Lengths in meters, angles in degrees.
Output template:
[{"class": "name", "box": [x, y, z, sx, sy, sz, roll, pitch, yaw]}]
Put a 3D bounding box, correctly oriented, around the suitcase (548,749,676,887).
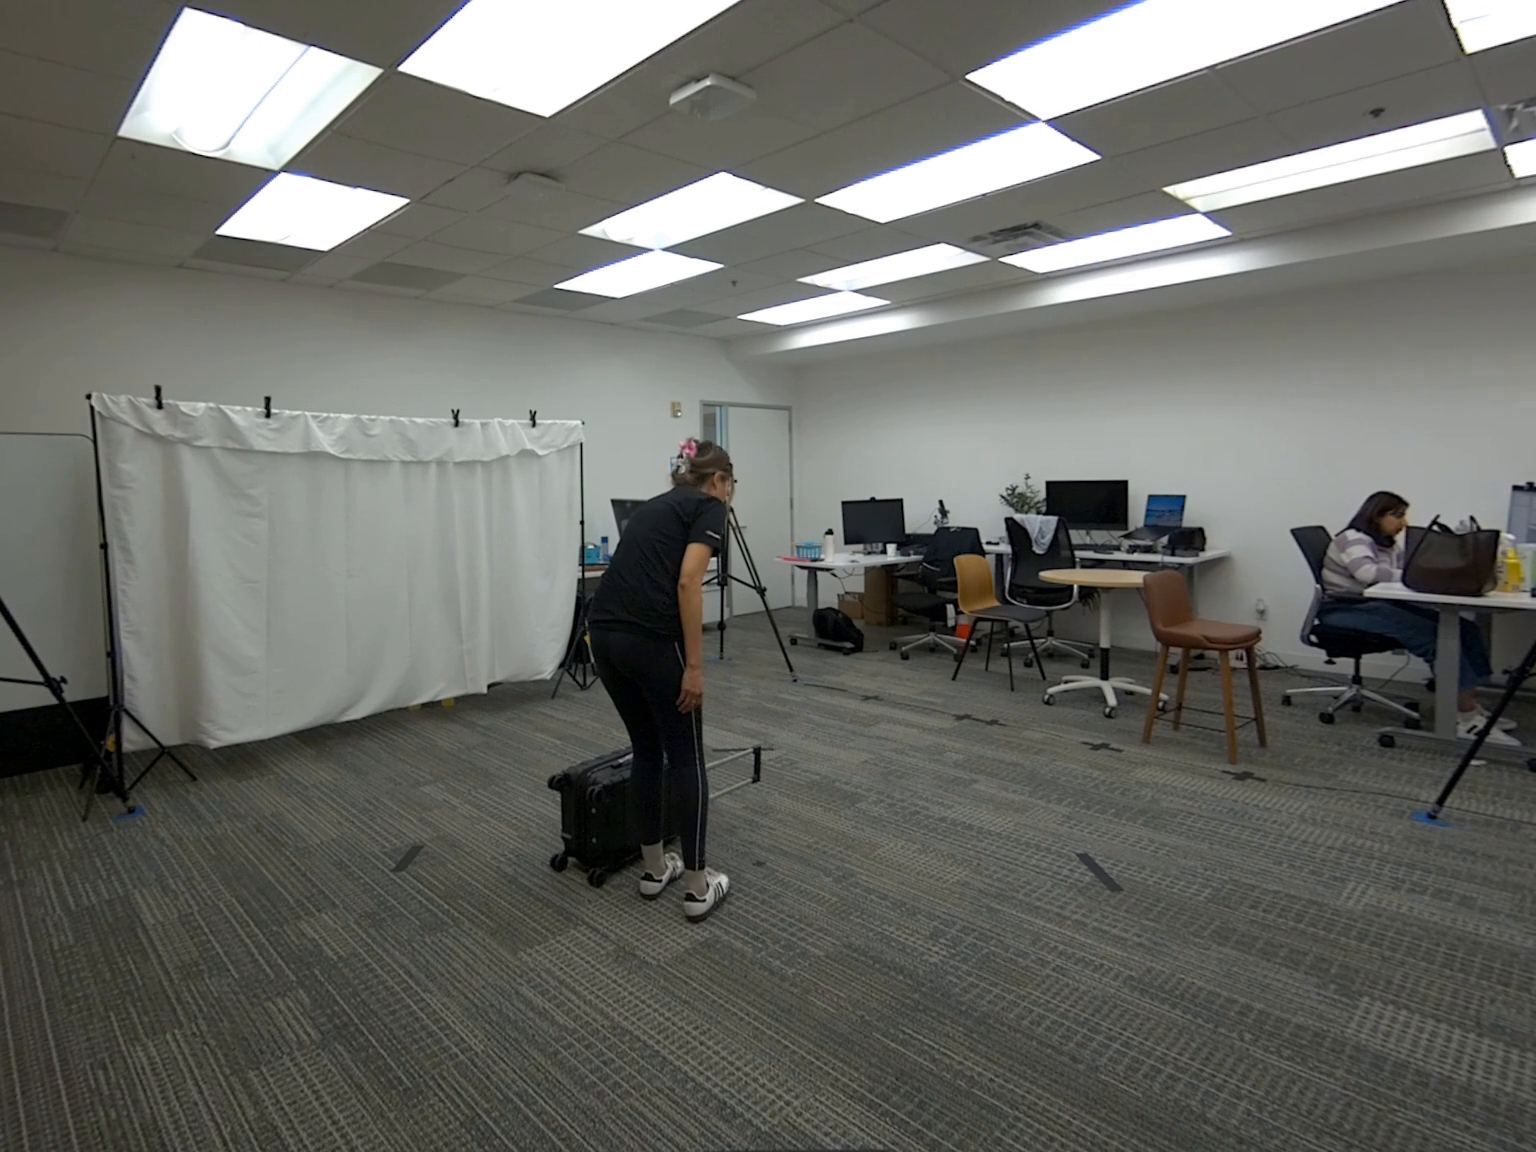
[{"class": "suitcase", "box": [-0.413, 0.836, 3.380, 0.264, 0.382, 0.955, 2, 6, 36]}]
